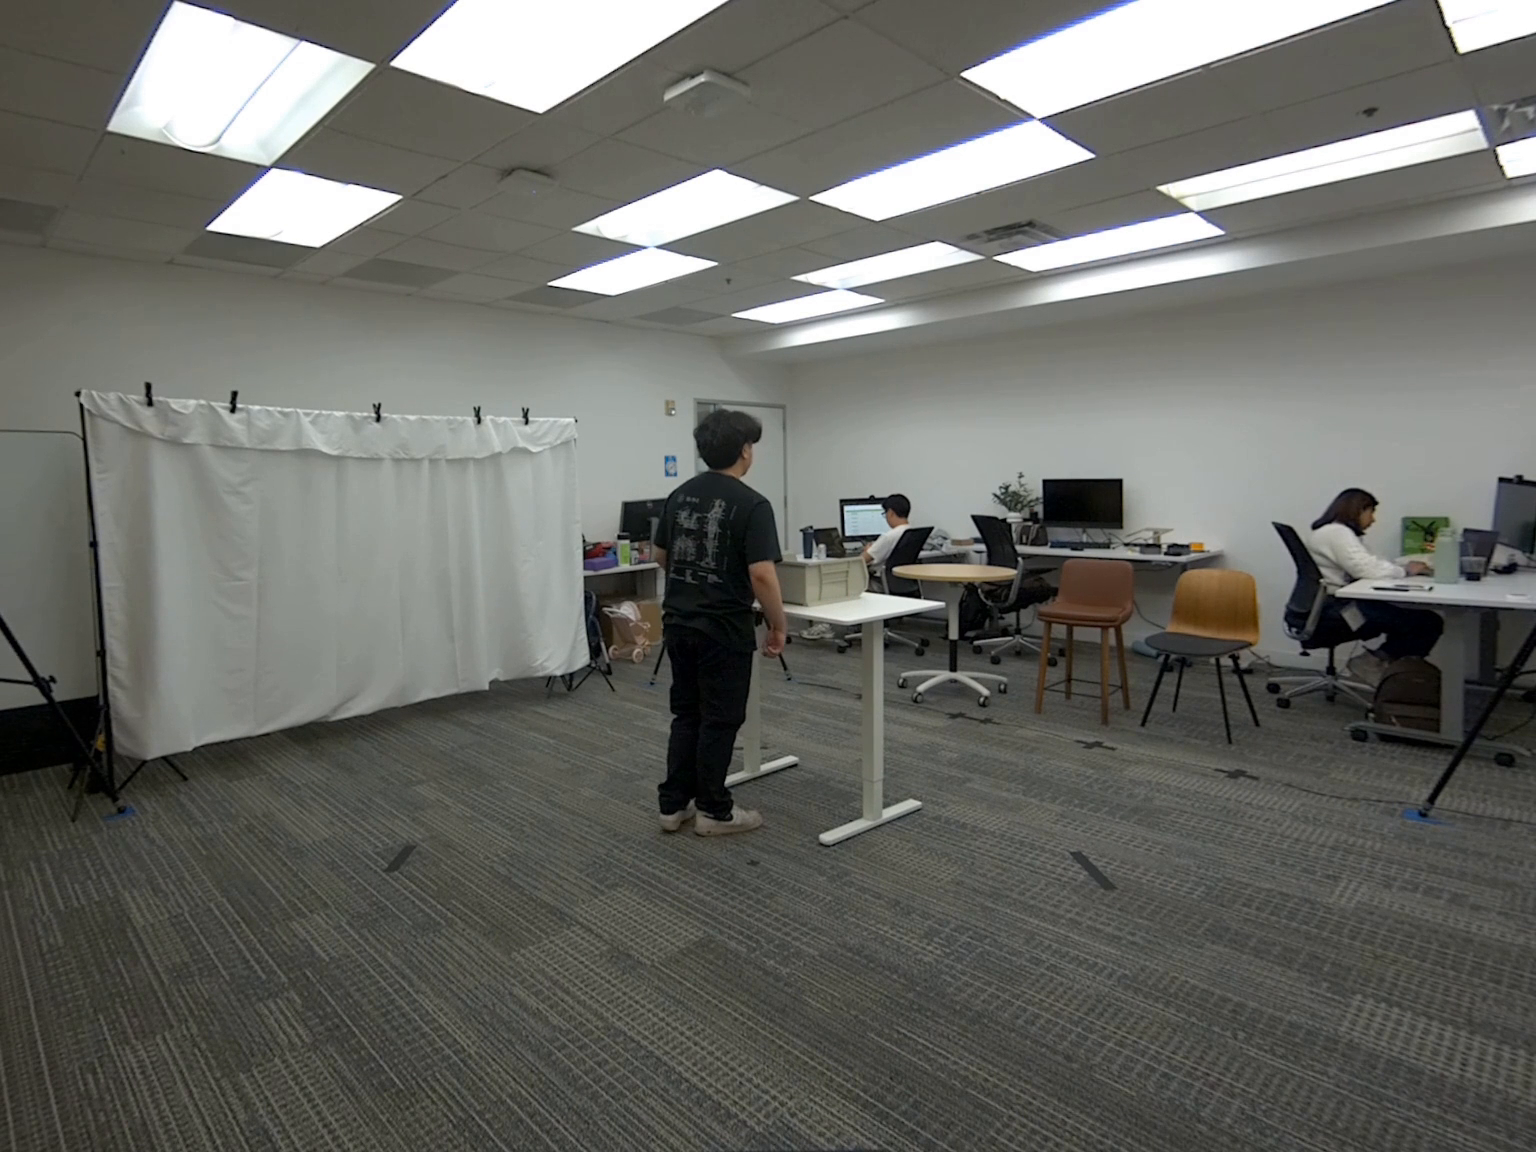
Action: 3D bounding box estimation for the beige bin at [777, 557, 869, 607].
[{"bbox_3d":[0.151,0.001,3.669,0.368,0.188,0.436,-8,10,-42],"label":"beige bin"}]
